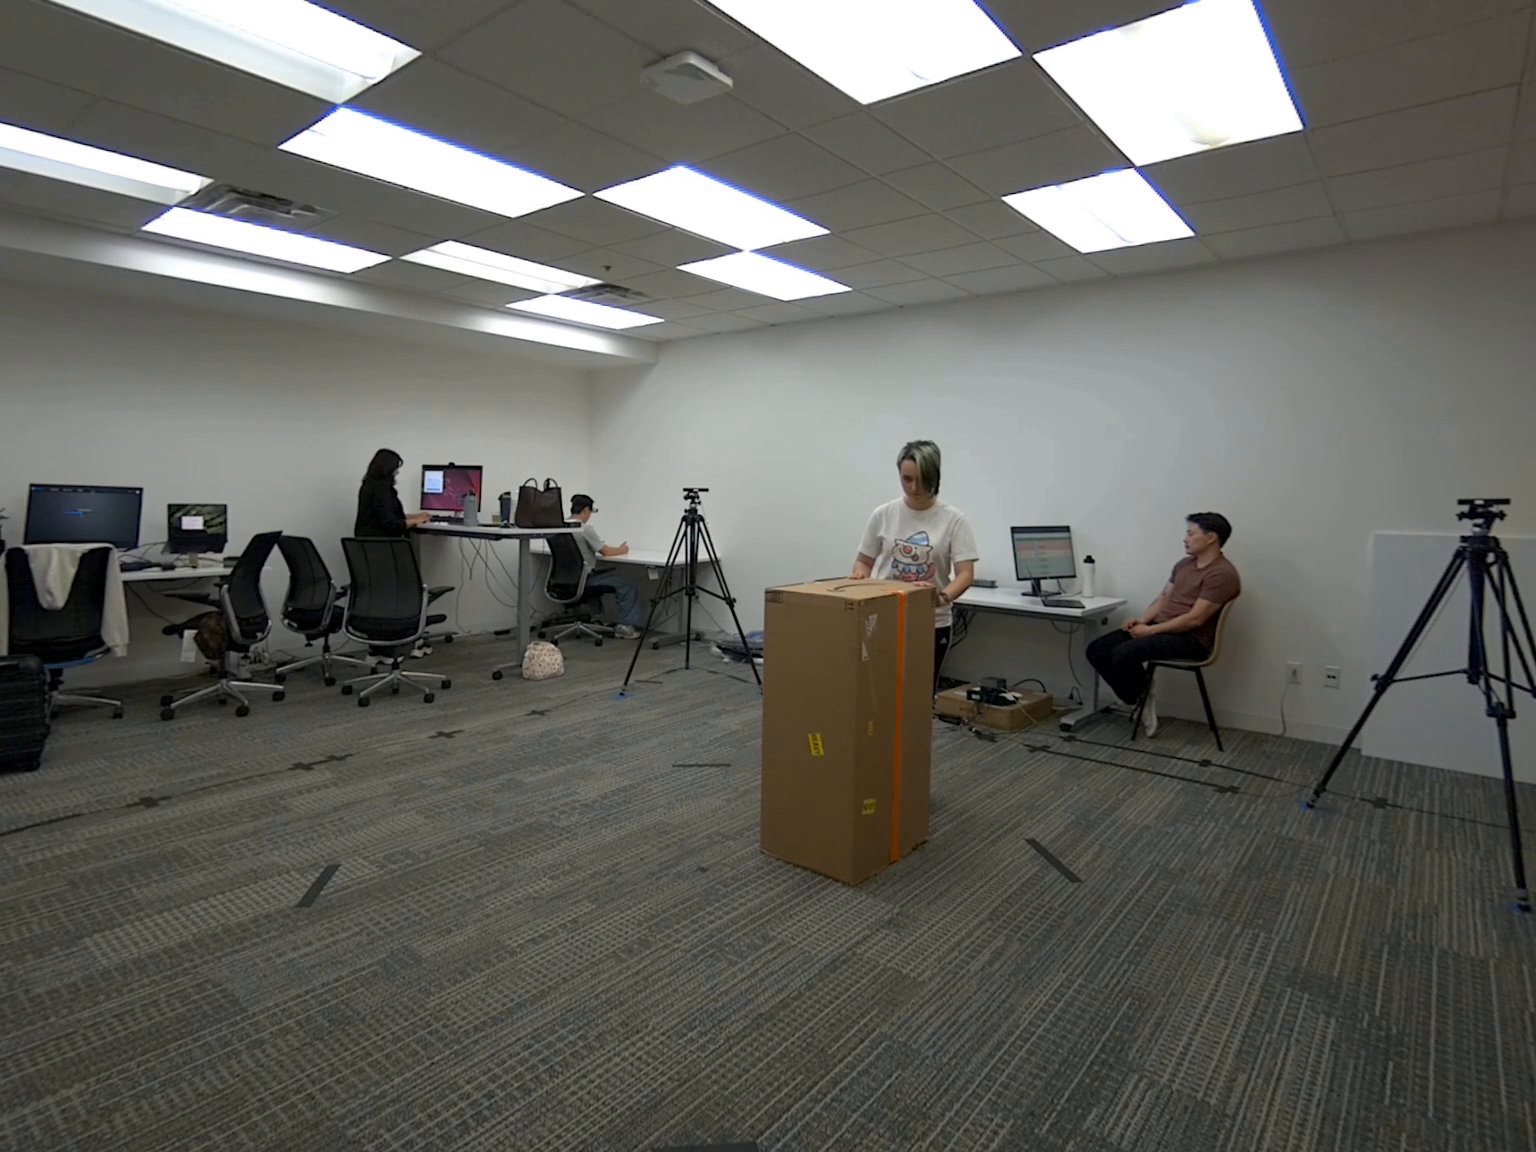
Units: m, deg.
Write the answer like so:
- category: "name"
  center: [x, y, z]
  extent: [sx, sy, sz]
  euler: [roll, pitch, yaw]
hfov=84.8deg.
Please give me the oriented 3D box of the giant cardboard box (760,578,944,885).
- category: "giant cardboard box"
  center: [0.311, 0.550, 3.310]
  extent: [0.461, 1.024, 0.567]
  euler: [3, 5, 39]
